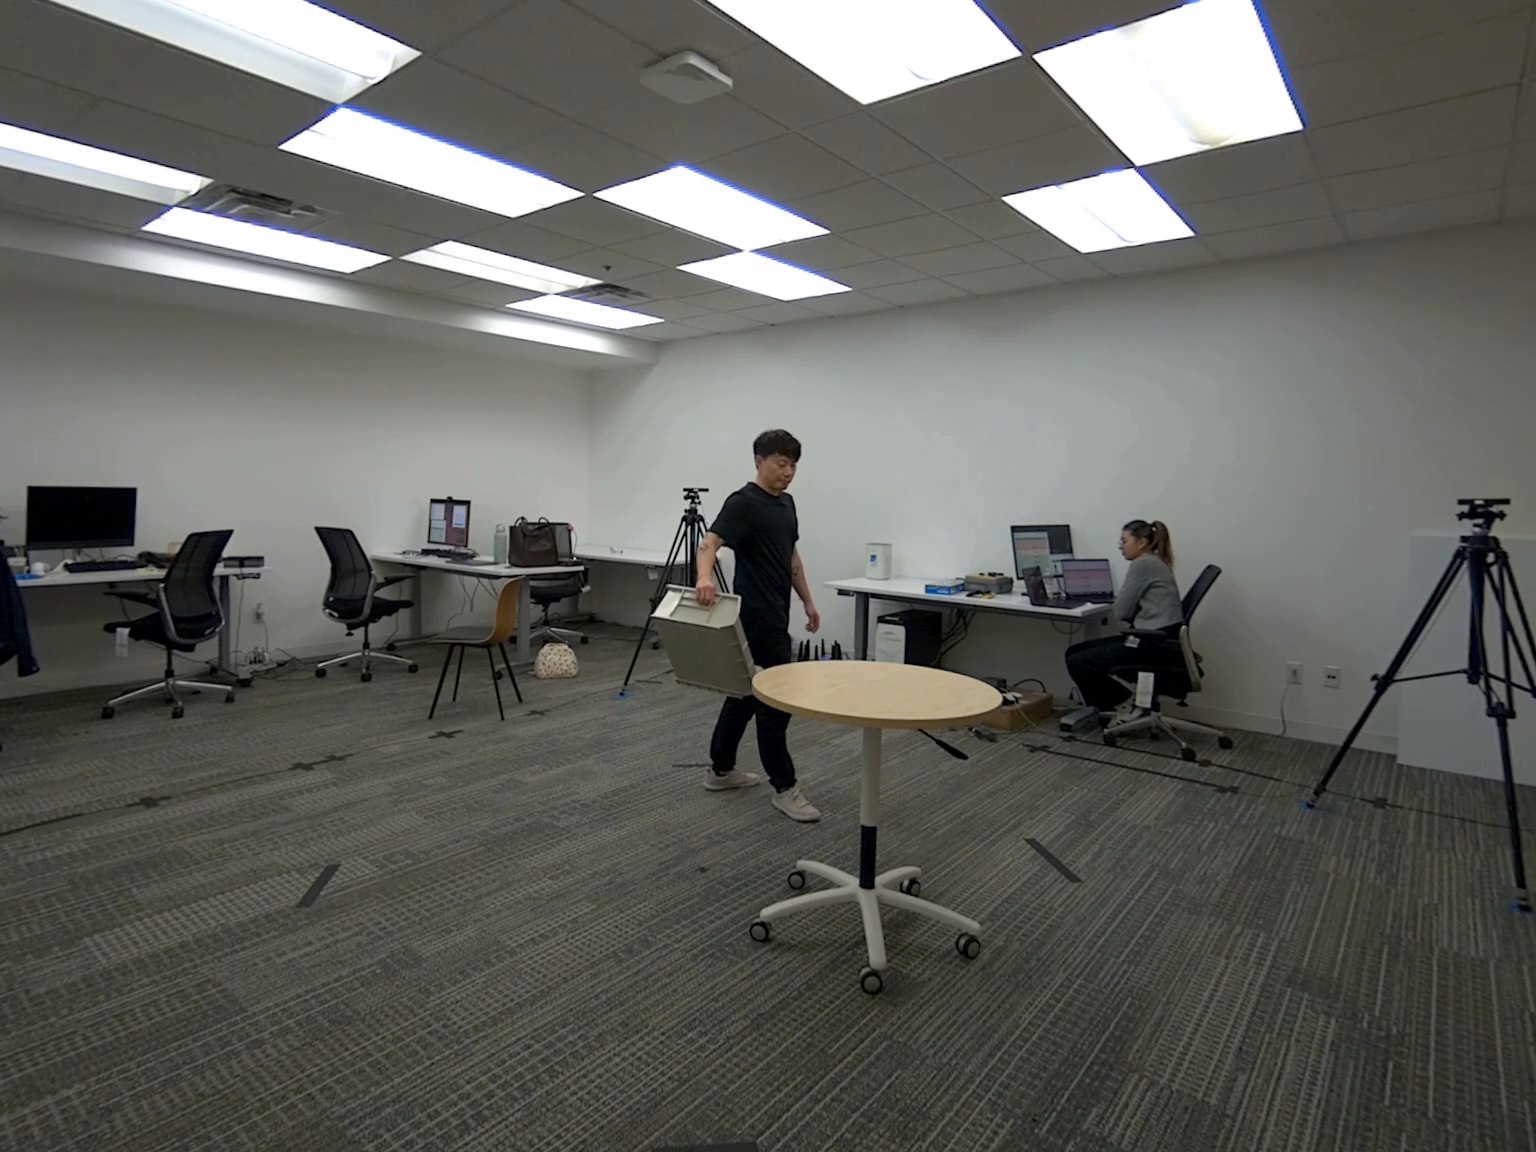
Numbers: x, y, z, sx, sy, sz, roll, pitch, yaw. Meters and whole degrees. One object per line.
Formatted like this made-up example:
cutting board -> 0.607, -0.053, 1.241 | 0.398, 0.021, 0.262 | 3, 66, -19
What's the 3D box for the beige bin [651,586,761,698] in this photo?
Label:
beige bin -> -0.245, 0.266, 3.468 | 0.388, 0.407, 0.190 | 7, 44, 27
